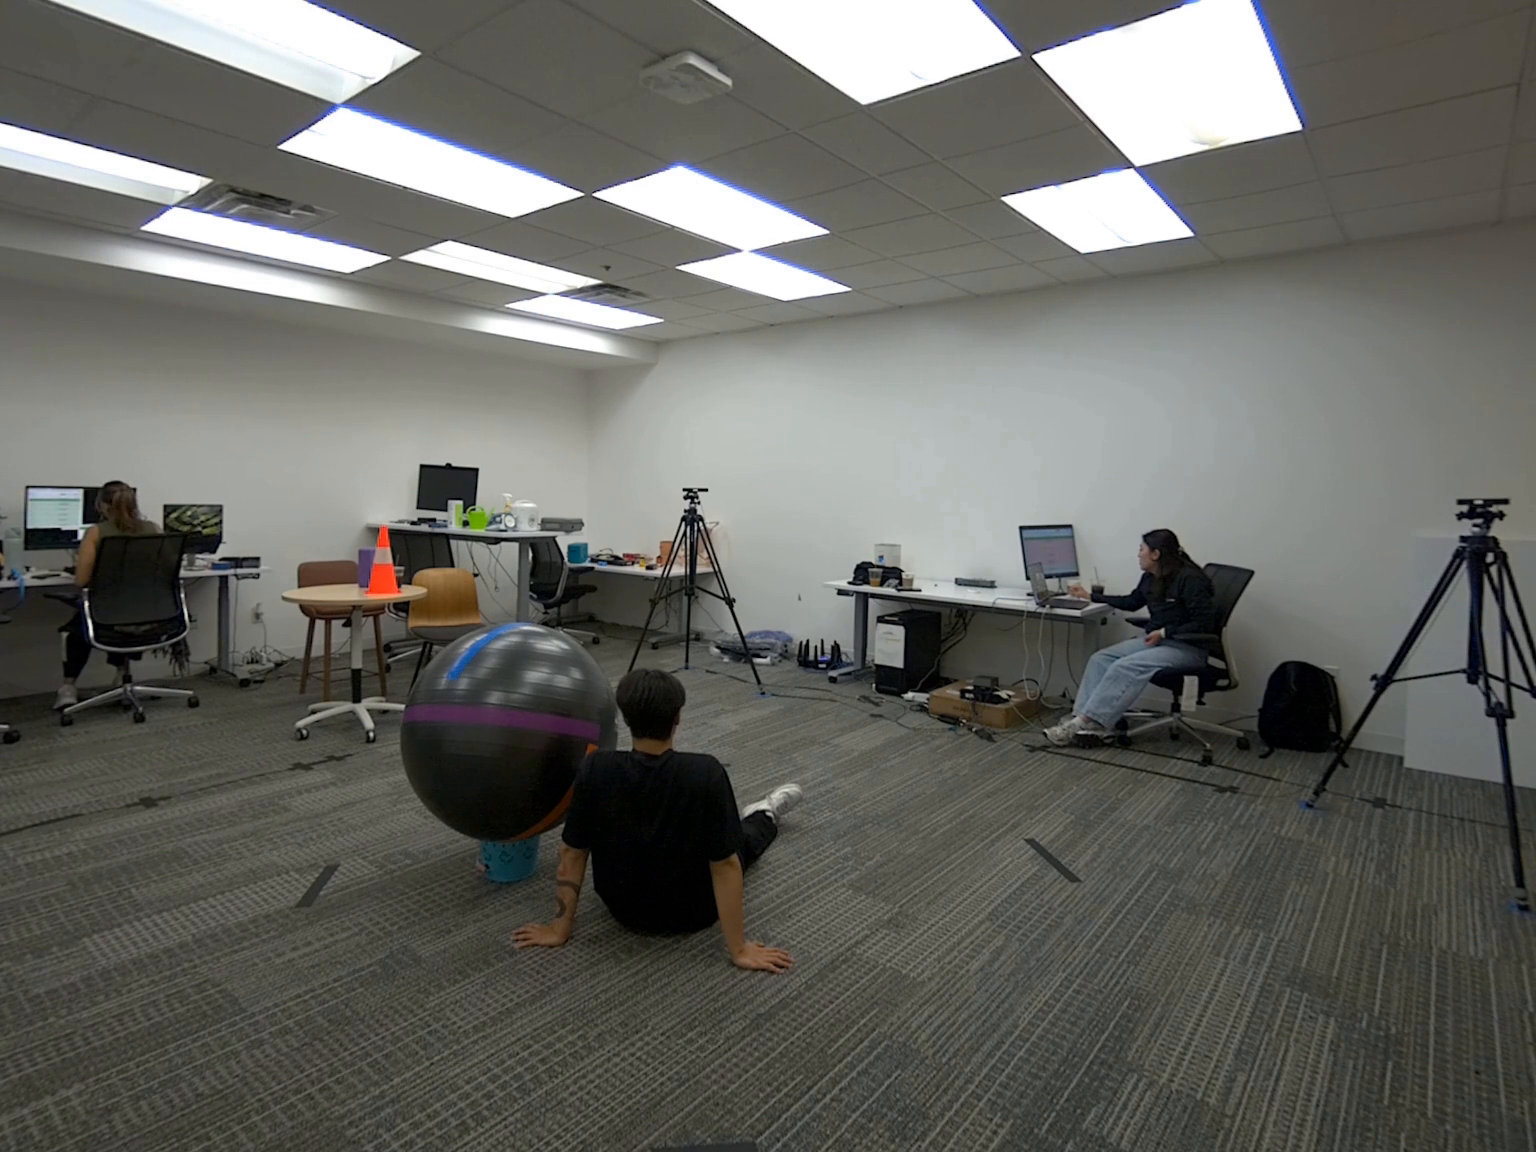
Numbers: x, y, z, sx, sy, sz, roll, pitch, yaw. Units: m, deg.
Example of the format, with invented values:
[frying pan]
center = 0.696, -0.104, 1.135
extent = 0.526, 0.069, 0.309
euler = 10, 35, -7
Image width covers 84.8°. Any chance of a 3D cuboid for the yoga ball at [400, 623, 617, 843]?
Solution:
[yoga ball]
center = -0.942, 0.556, 3.055
extent = 0.757, 0.755, 0.762
euler = 1, 4, -2
